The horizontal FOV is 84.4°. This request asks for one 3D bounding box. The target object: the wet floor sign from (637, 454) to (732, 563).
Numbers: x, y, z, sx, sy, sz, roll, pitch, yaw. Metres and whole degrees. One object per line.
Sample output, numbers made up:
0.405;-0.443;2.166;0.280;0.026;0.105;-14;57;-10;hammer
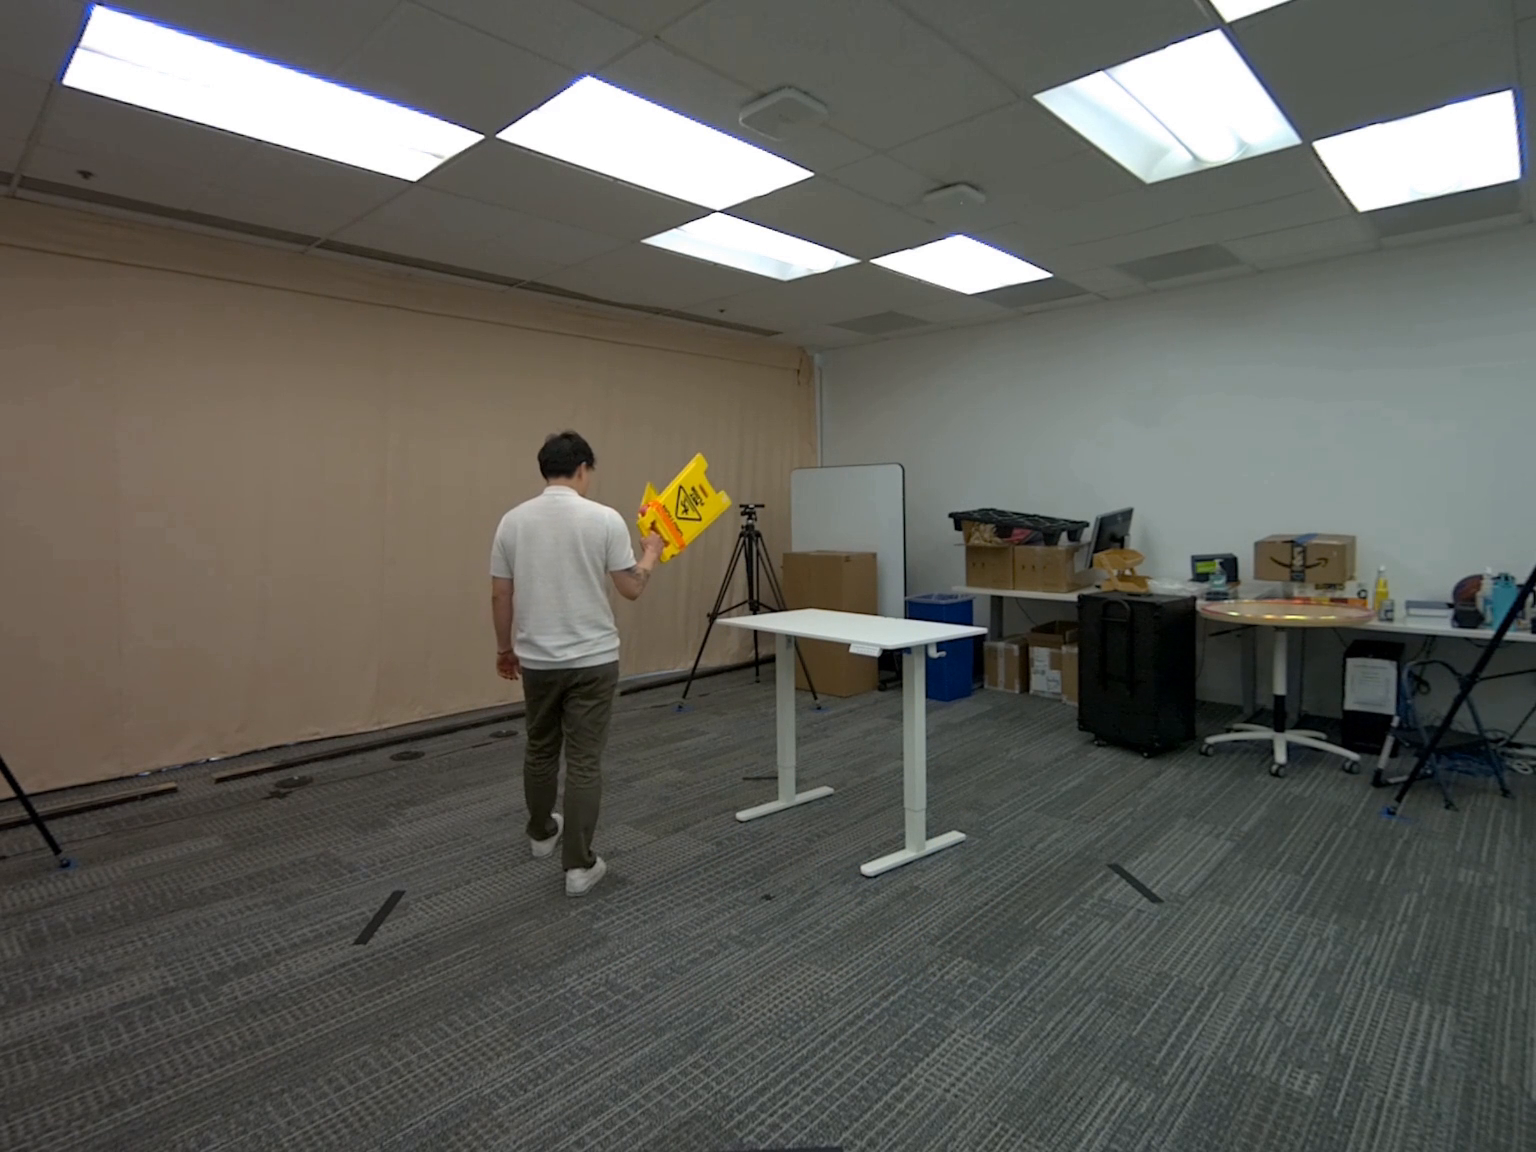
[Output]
-0.415;-0.262;3.618;0.293;0.278;0.648;-27;16;19;wet floor sign
